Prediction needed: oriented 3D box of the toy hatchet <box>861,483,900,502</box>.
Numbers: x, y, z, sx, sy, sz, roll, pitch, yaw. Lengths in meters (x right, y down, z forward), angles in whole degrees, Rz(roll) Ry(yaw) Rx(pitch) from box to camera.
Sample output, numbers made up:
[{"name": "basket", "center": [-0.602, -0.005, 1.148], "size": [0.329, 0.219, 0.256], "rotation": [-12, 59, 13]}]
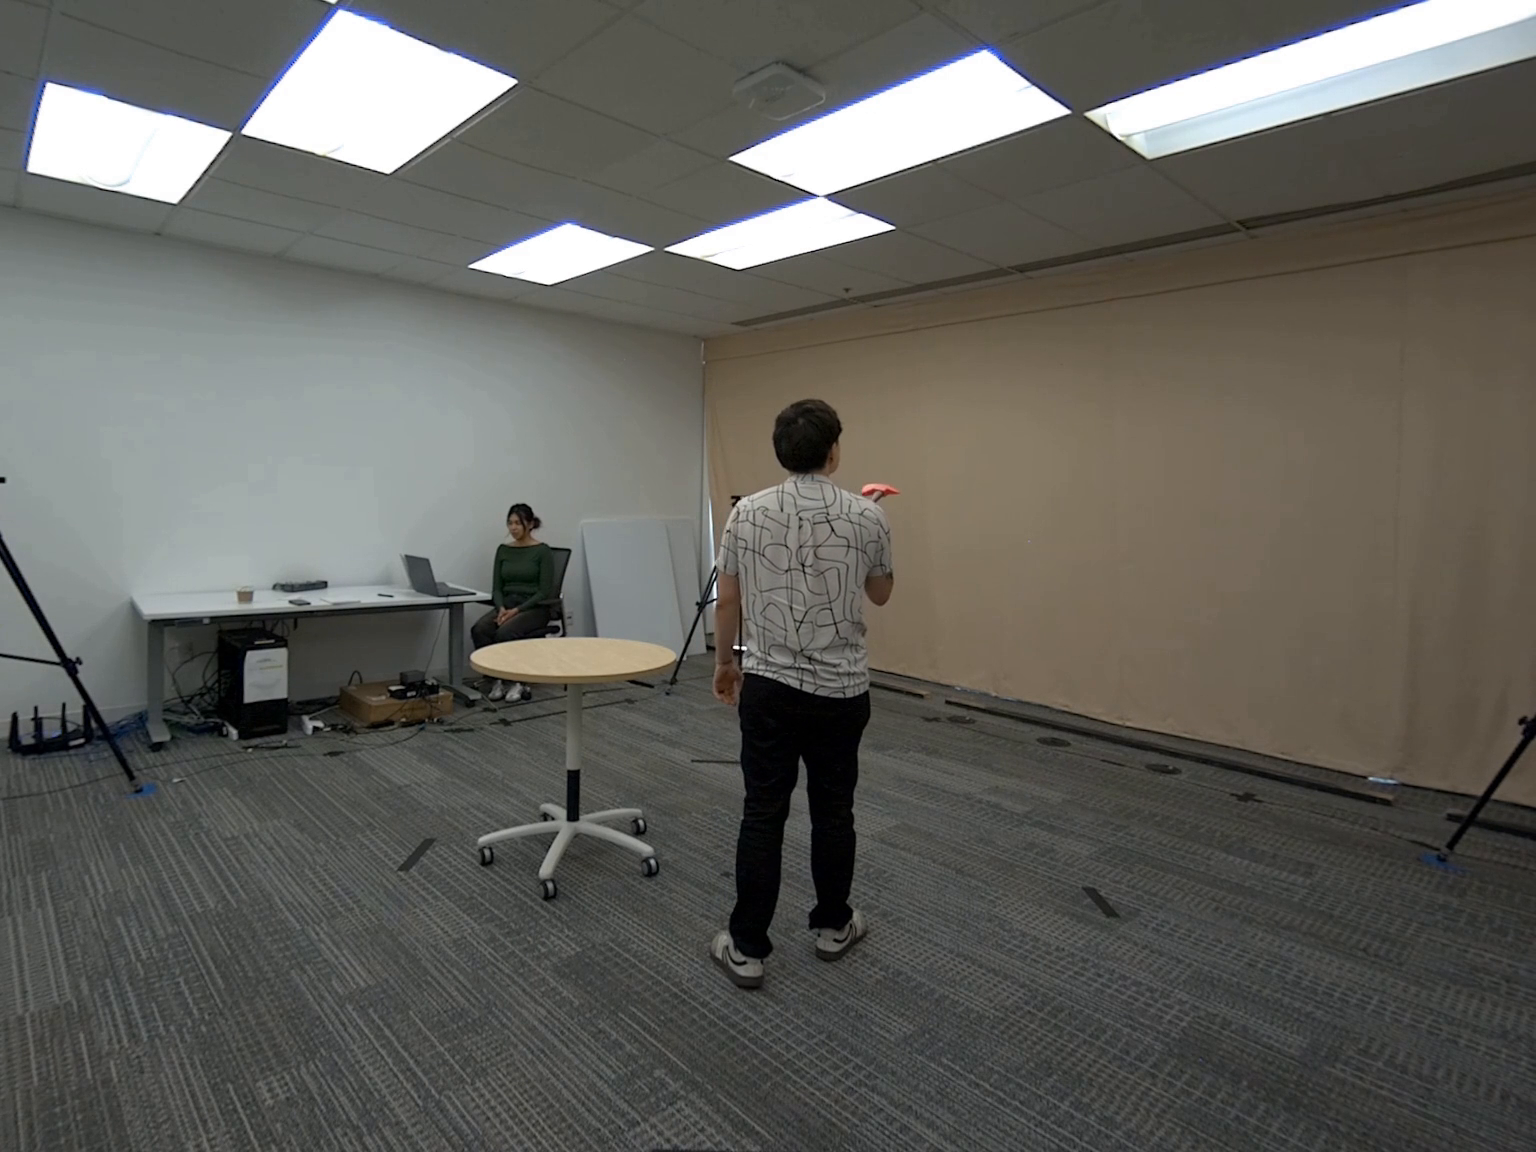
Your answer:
[{"name": "toy hatchet", "center": [0.324, -0.252, 2.890], "size": [0.268, 0.029, 0.135], "rotation": [-31, 41, -31]}]
